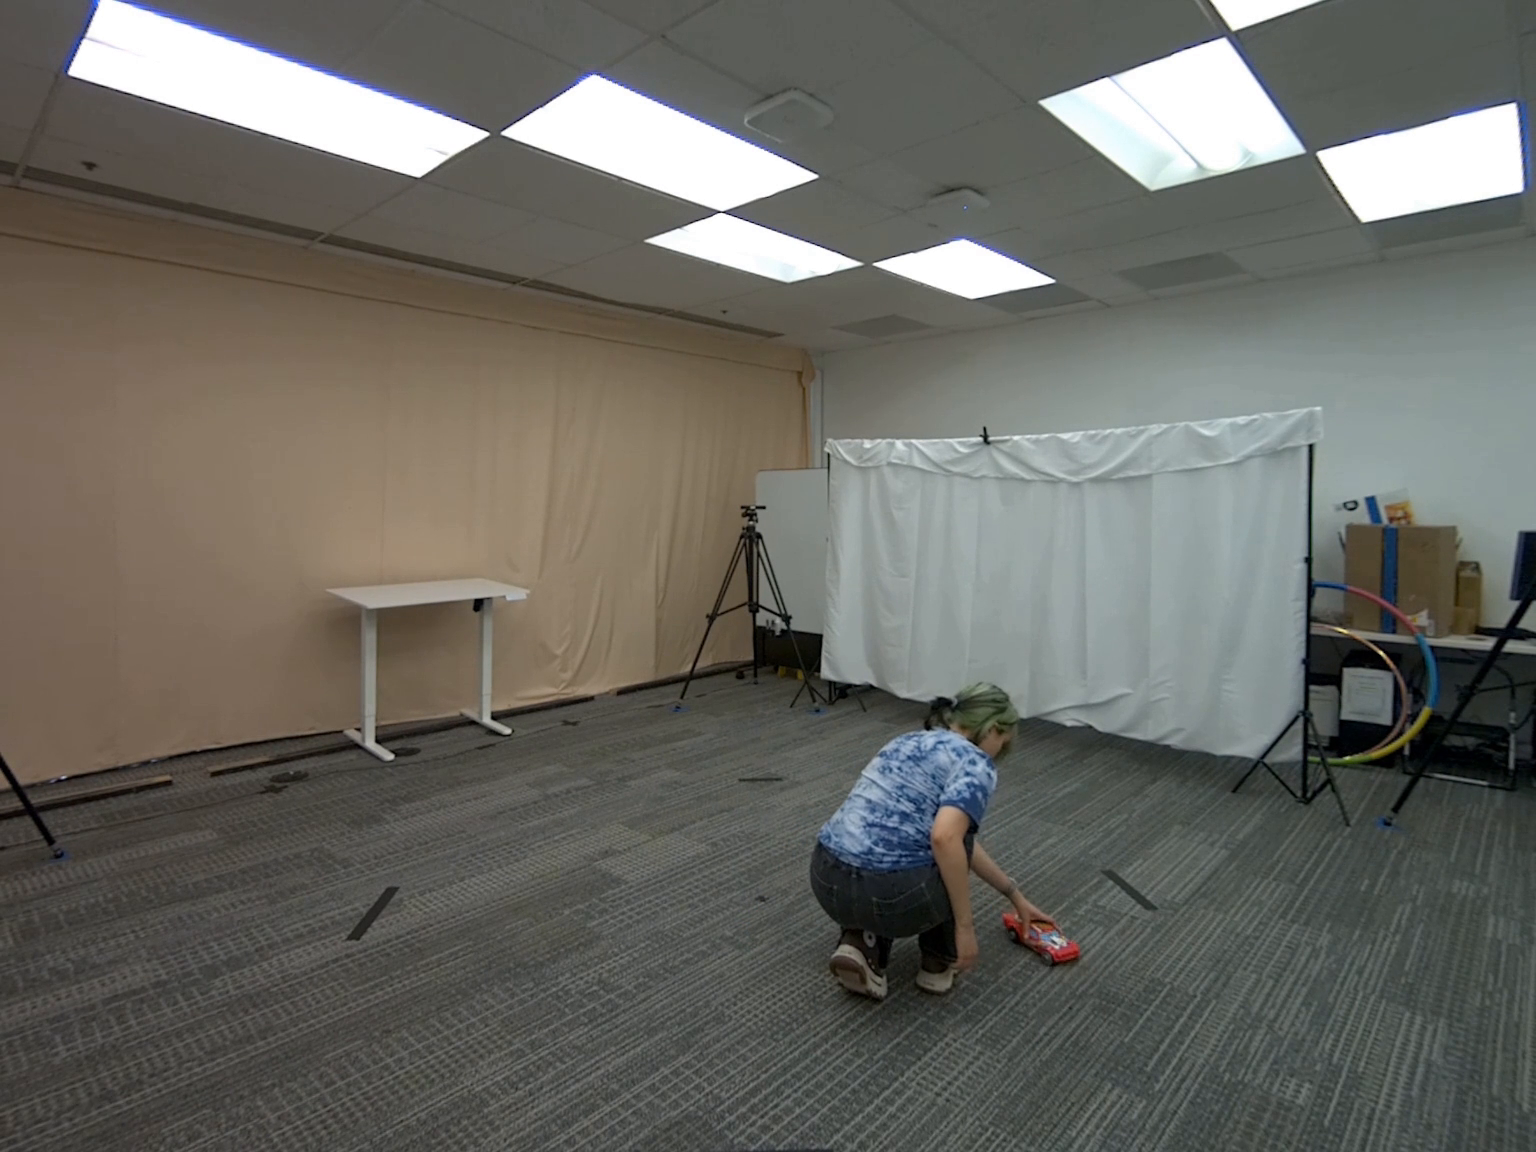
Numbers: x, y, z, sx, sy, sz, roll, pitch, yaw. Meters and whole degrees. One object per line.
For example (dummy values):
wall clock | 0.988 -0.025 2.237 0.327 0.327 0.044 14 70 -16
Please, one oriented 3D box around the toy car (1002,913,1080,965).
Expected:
toy car | 0.857 1.141 2.653 0.127 0.082 0.262 -2 16 -24
